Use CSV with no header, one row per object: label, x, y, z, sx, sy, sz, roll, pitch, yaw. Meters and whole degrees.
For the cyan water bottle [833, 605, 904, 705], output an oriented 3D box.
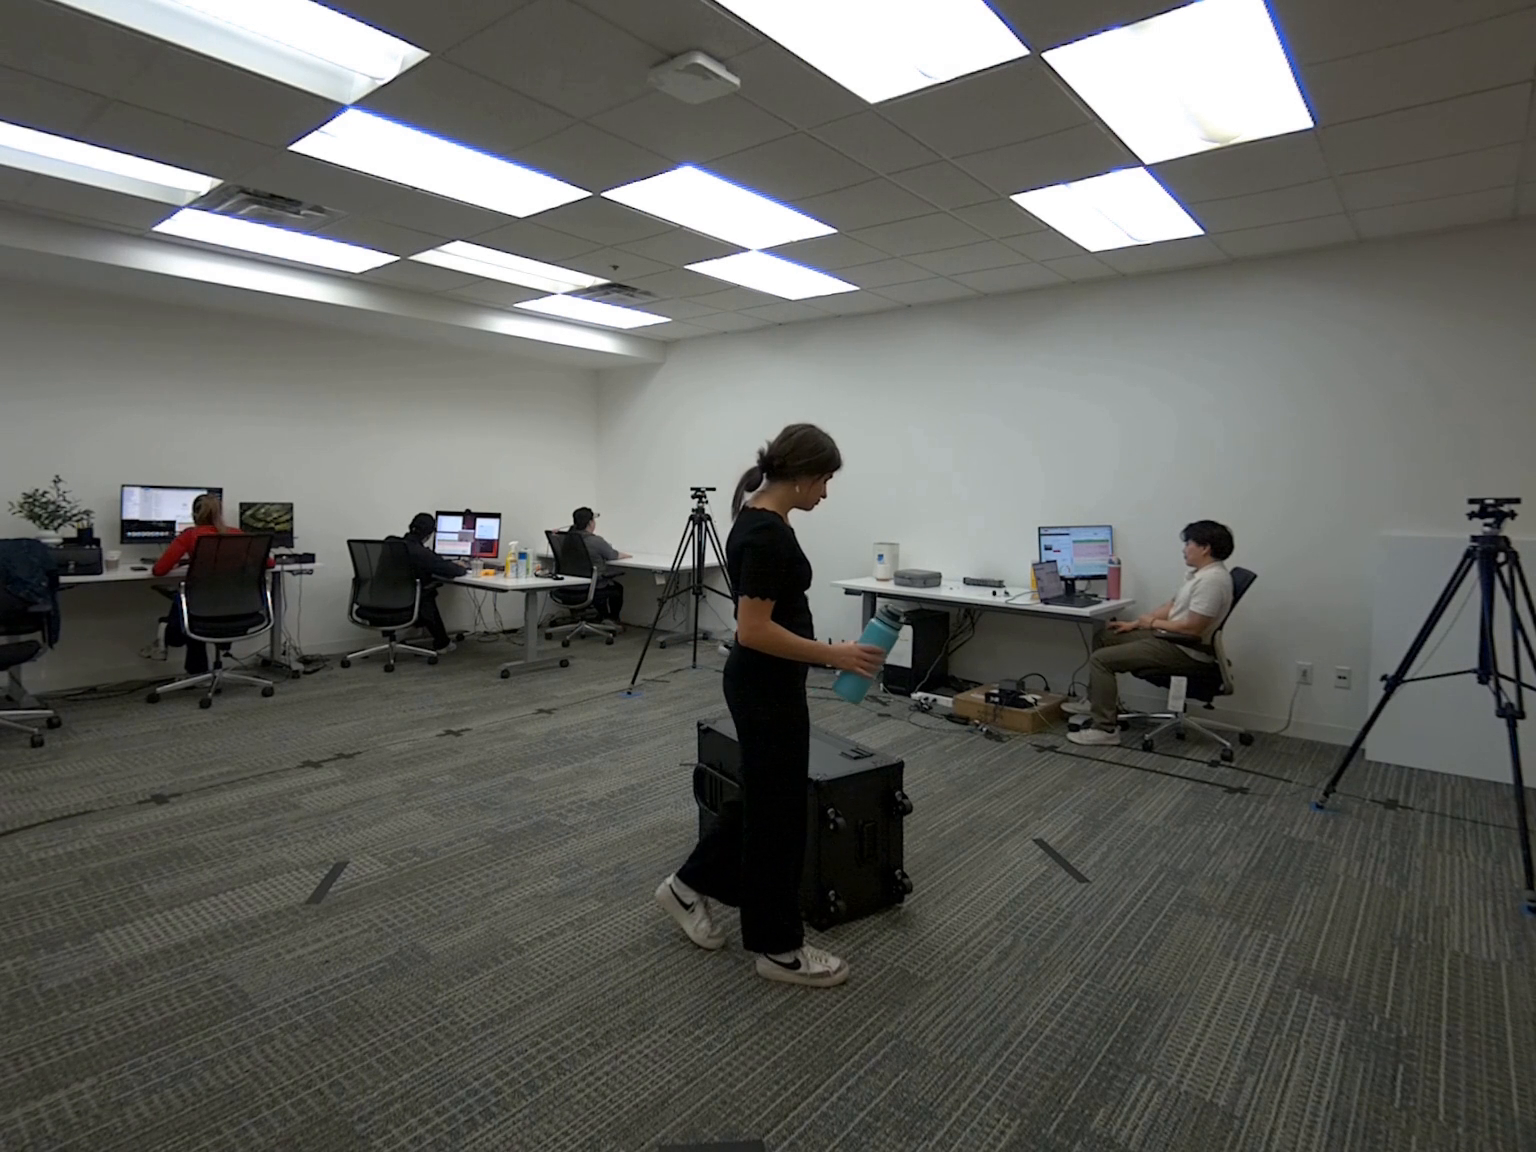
cyan water bottle,0.267,0.208,2.297,0.092,0.283,0.093,28,6,-6
